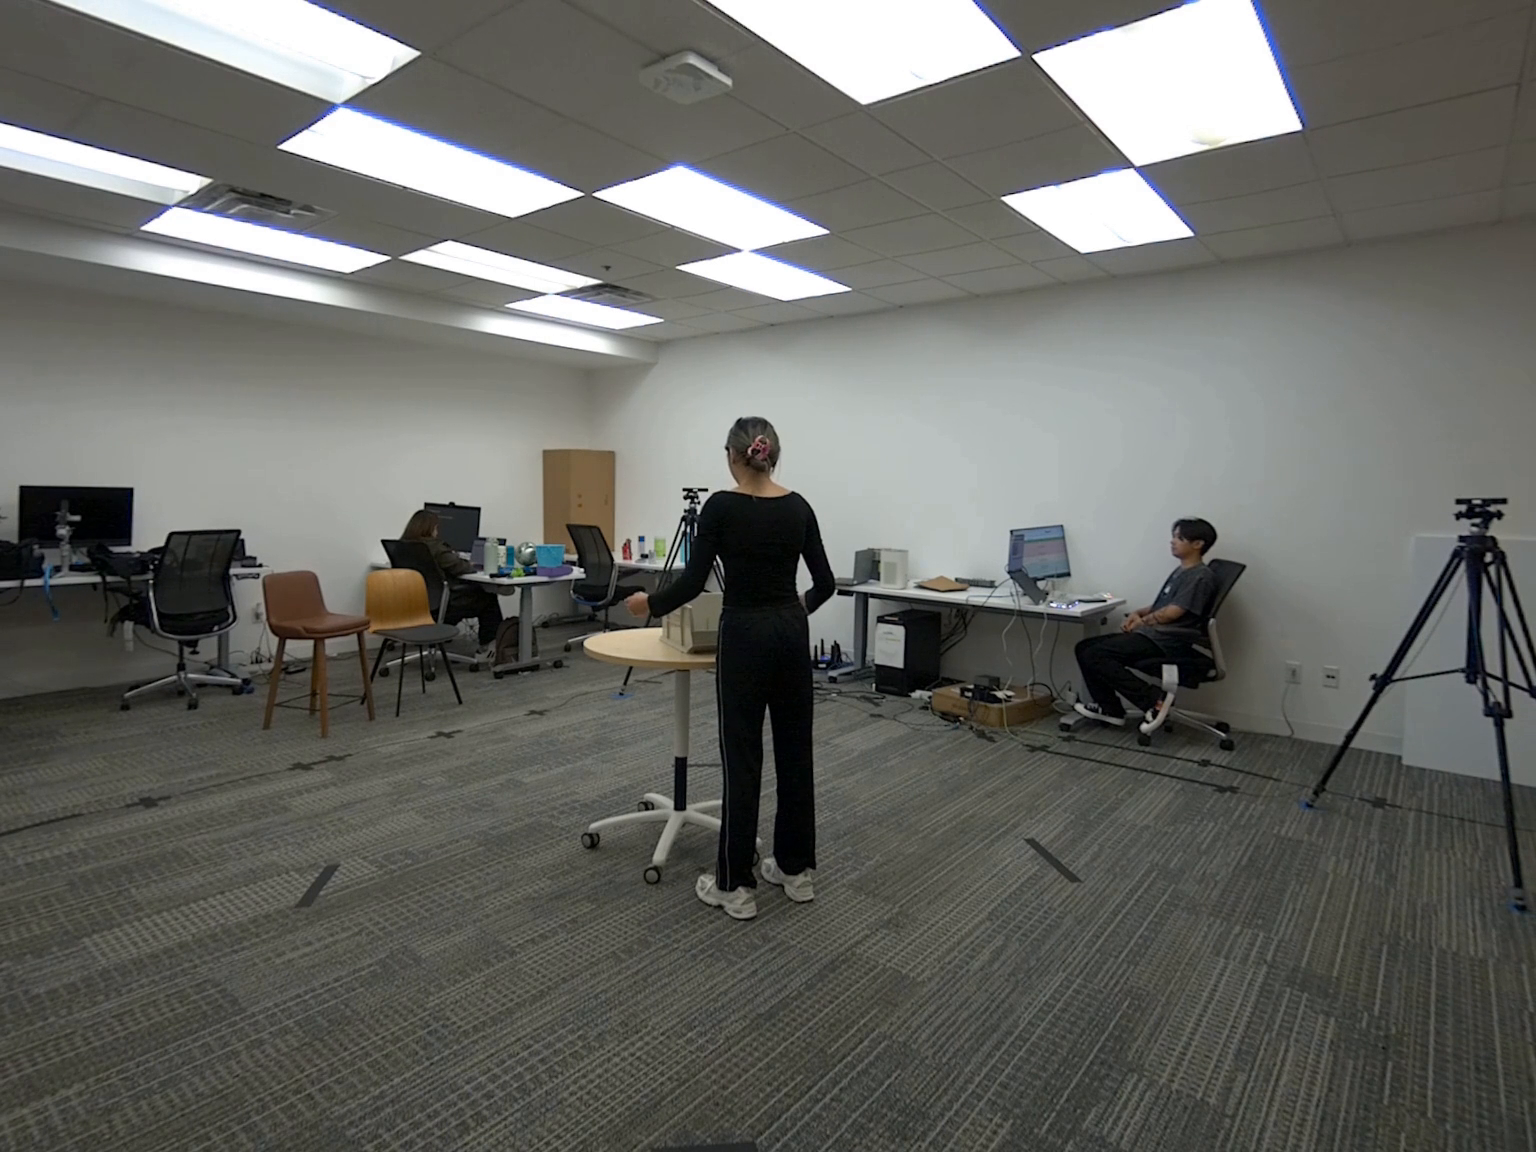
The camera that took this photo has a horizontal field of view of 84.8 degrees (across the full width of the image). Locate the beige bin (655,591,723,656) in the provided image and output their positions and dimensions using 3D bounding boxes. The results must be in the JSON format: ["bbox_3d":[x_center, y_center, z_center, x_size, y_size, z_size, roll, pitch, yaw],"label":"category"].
[{"bbox_3d":[-0.179,0.172,3.259,0.413,0.188,0.387,-1,4,-24],"label":"beige bin"}]
